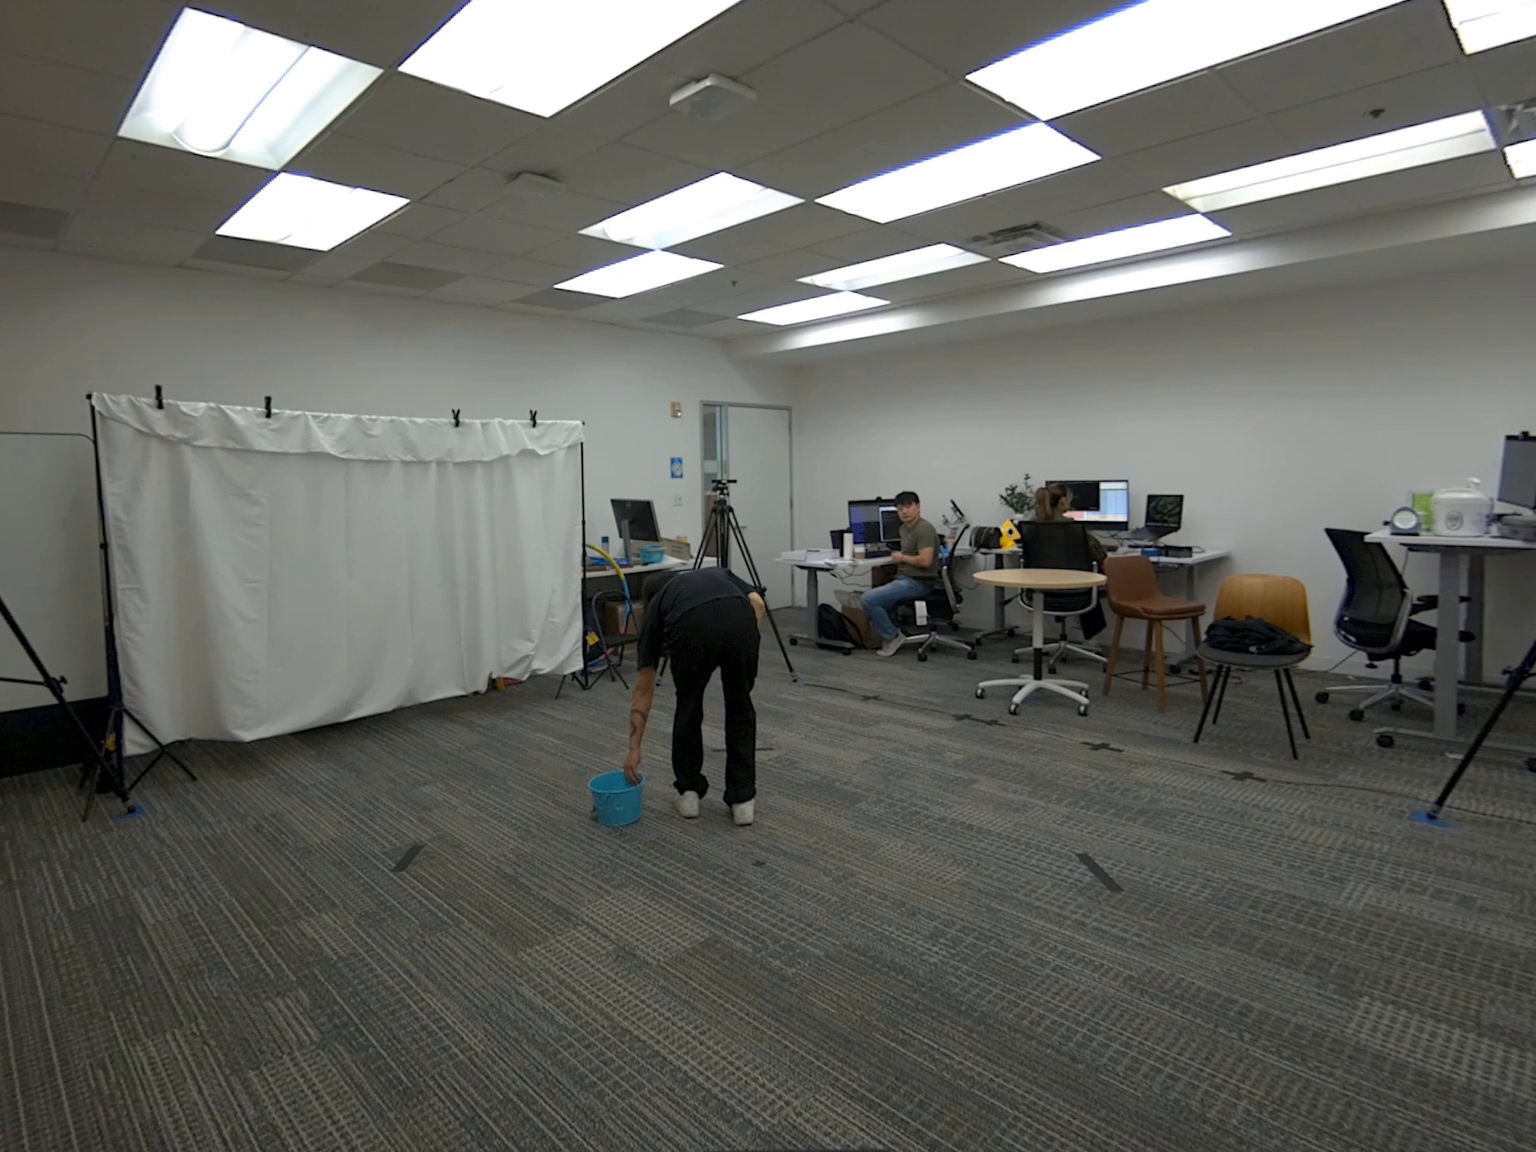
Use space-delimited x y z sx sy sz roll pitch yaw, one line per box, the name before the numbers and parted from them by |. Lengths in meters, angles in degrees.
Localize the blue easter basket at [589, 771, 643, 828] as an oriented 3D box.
blue easter basket | -0.621 0.928 3.551 0.243 0.155 0.245 -3 8 -1
